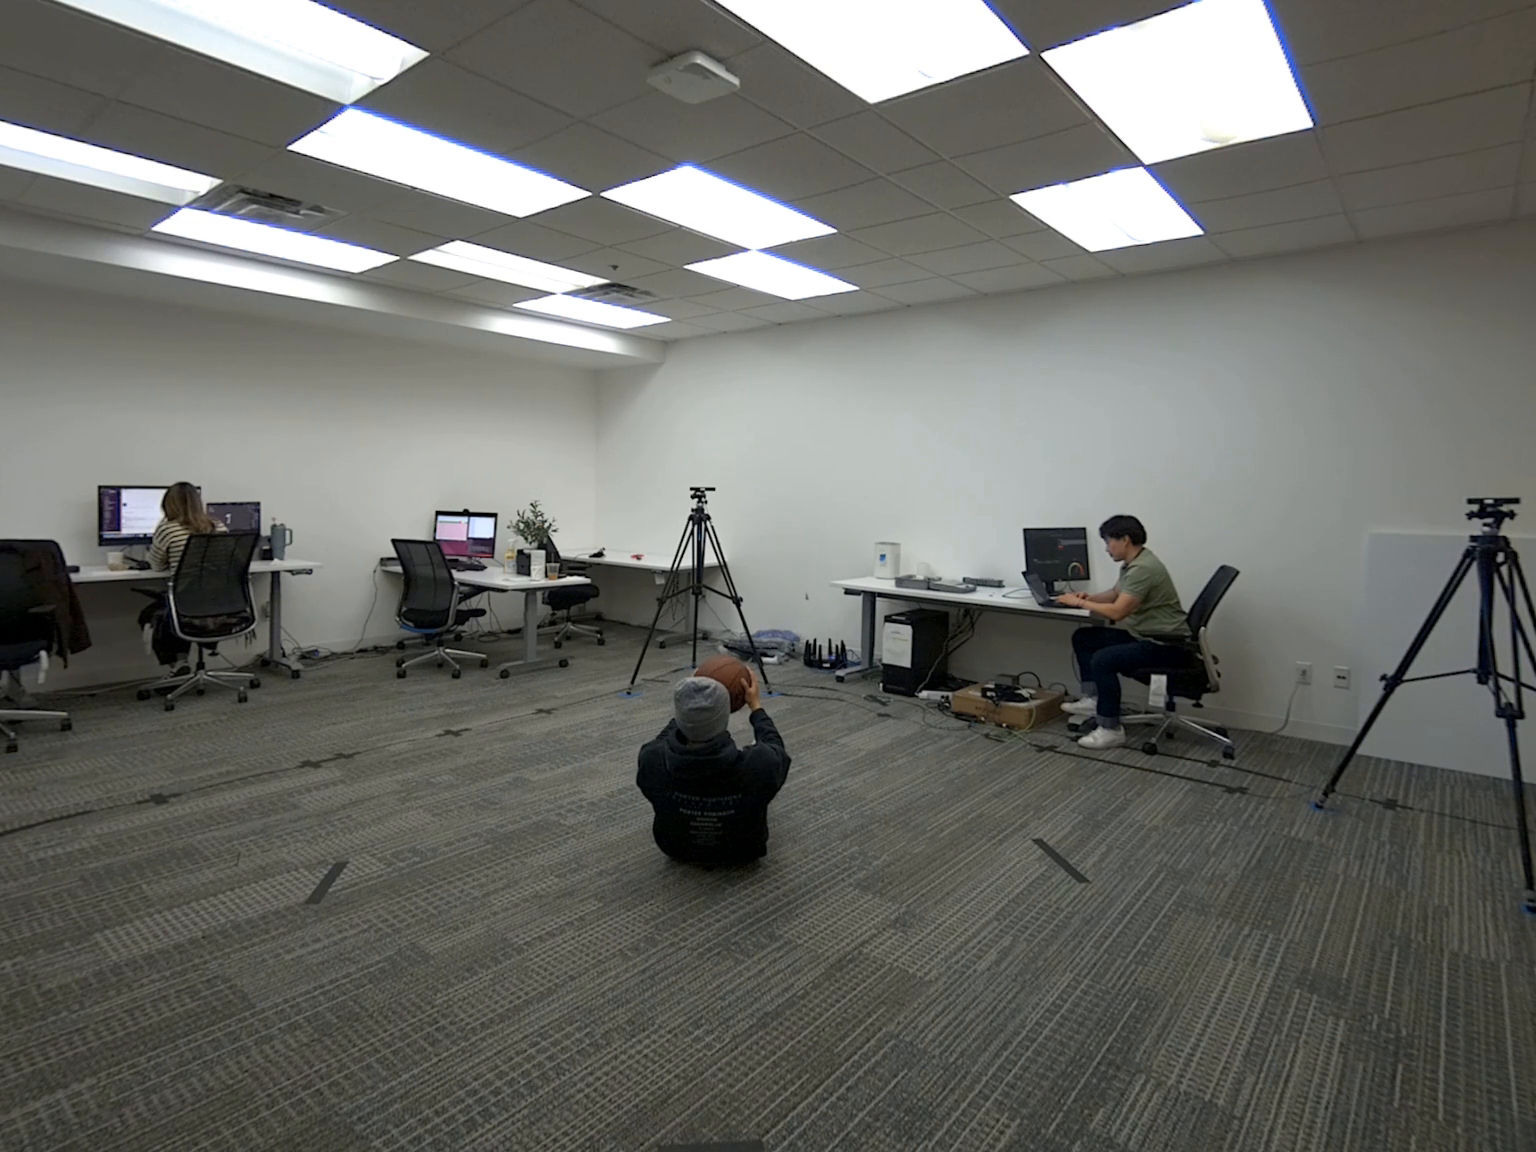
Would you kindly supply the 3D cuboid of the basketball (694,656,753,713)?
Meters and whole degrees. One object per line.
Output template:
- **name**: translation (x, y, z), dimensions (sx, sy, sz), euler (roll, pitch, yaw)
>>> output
- **basketball**: translation (-0.190, 0.444, 3.490), dimensions (0.235, 0.235, 0.237), euler (1, 4, -2)
